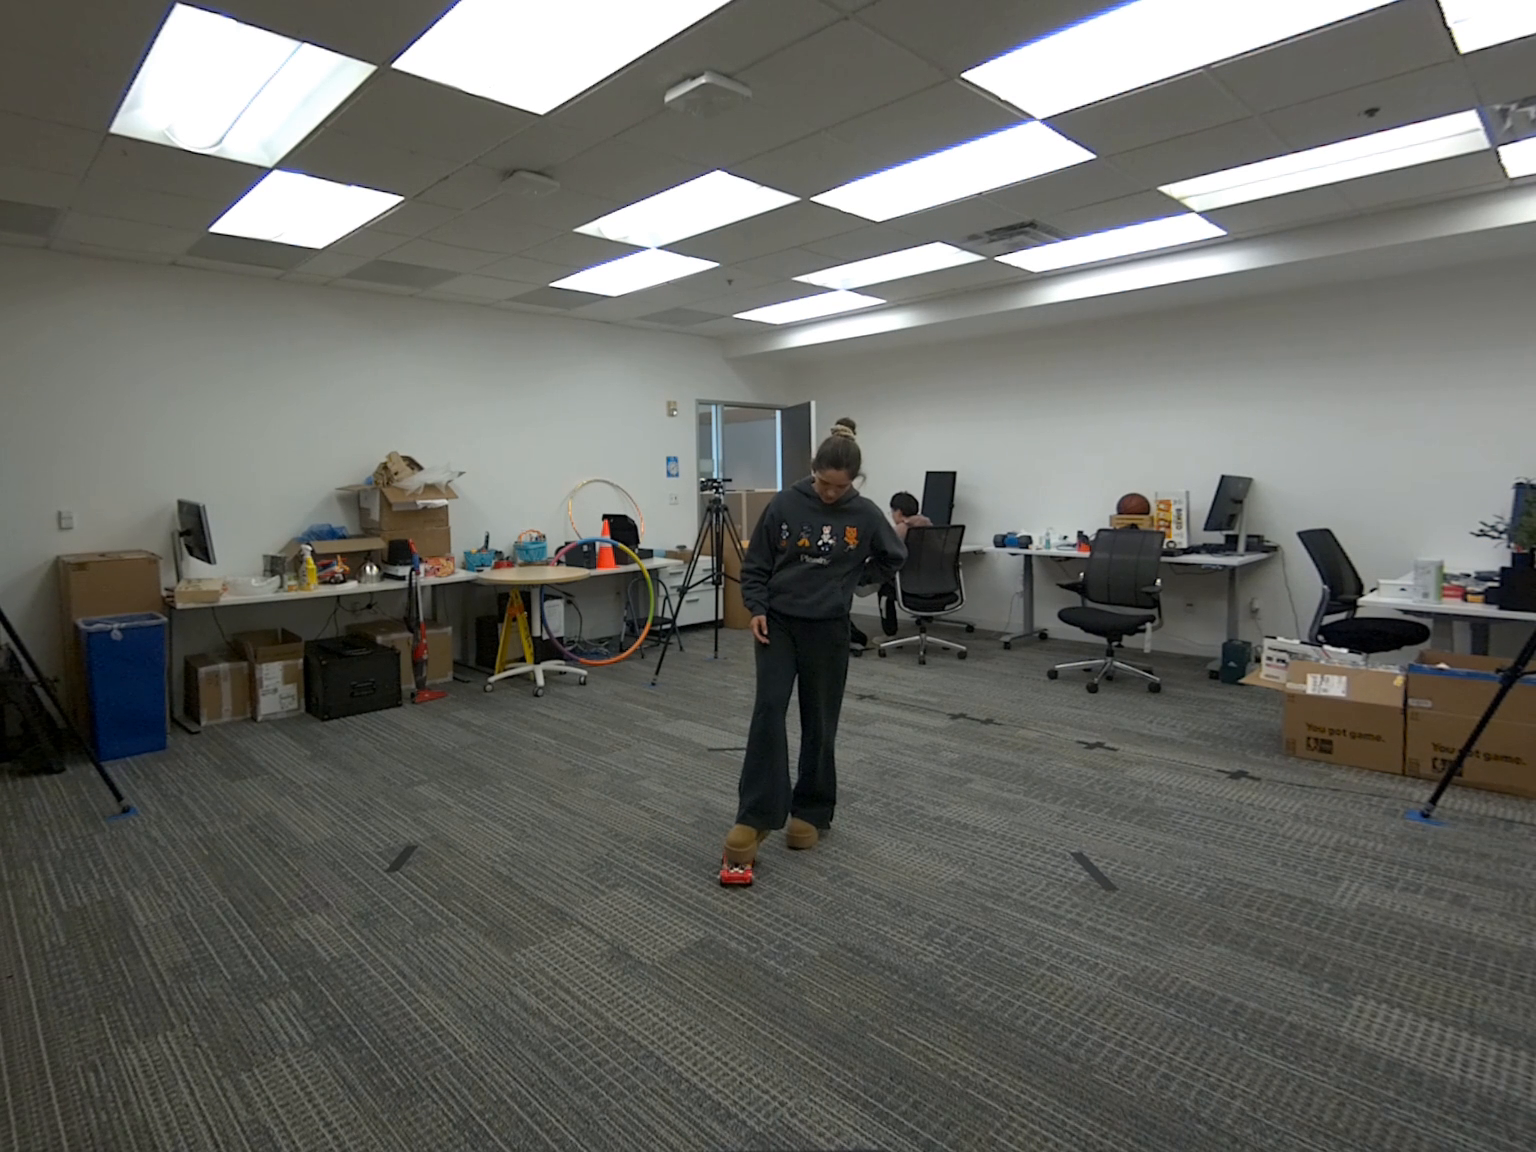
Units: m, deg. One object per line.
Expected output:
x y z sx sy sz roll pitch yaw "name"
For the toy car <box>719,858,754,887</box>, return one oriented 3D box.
-0.102 1.026 3.026 0.131 0.082 0.257 -1 17 3 "toy car"
